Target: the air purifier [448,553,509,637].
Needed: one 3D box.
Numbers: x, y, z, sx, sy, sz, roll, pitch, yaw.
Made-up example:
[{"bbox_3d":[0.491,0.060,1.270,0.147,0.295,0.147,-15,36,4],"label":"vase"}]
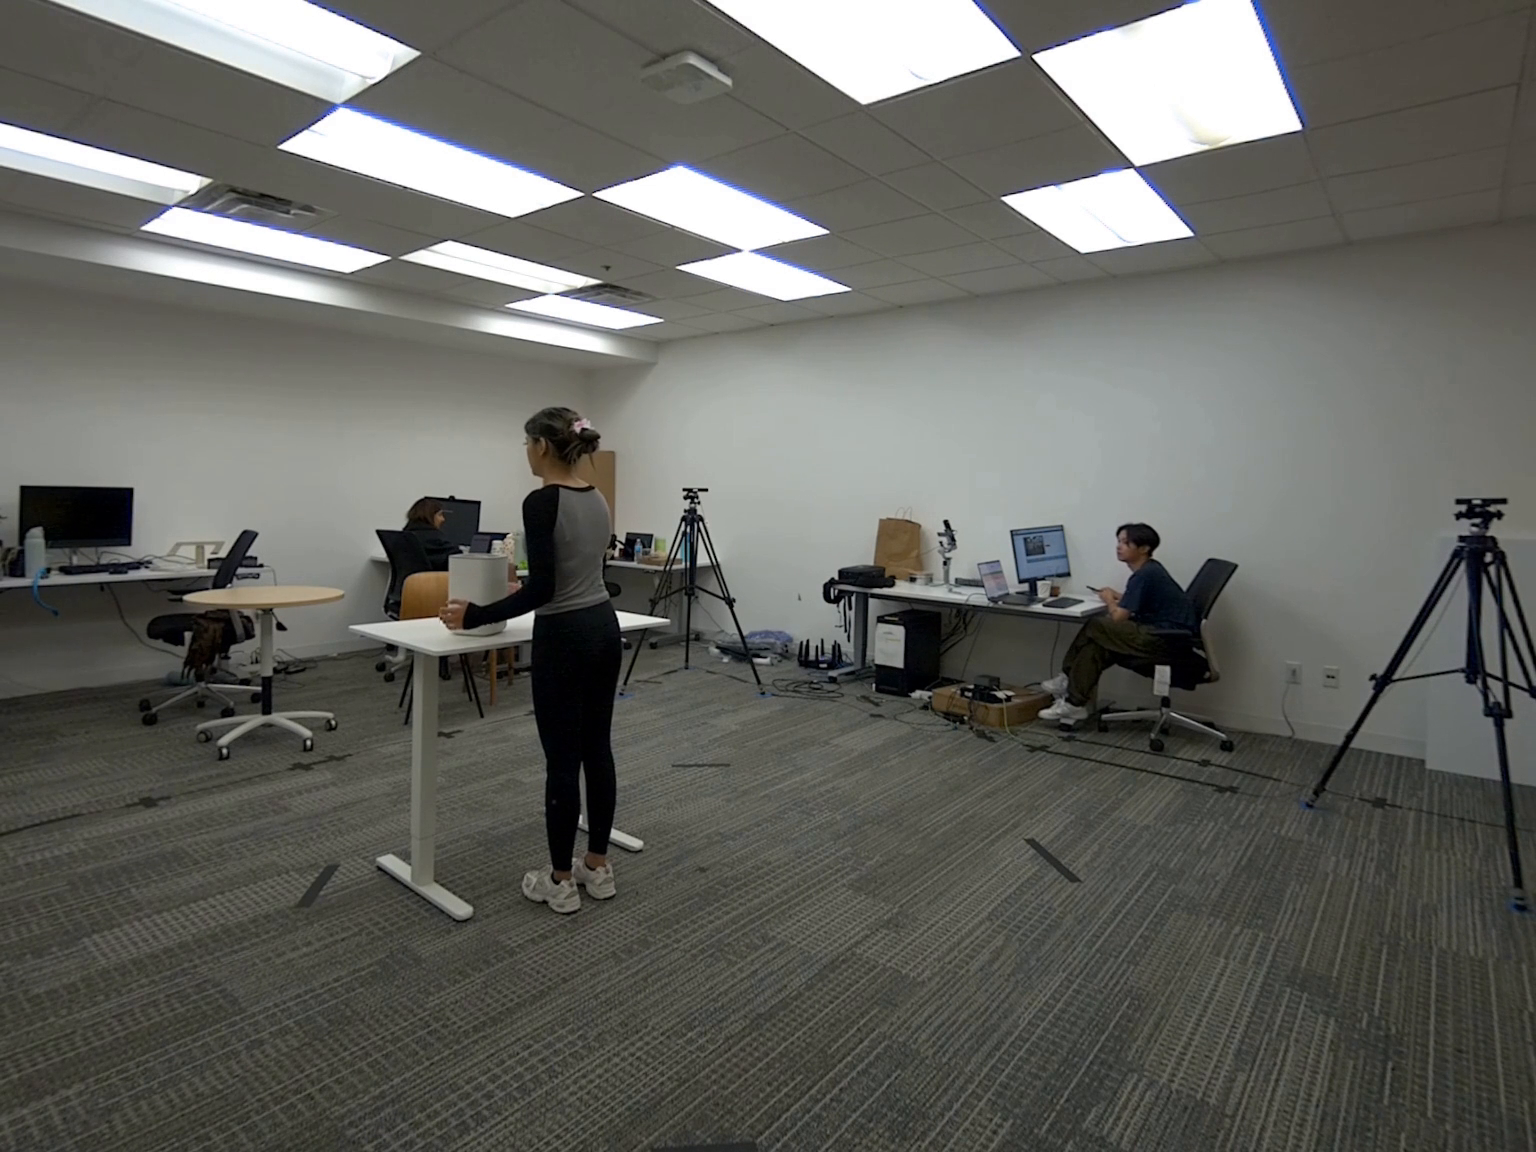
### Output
[{"bbox_3d":[-1.005,0.061,2.913,0.173,0.264,0.170,2,4,9],"label":"air purifier"}]
